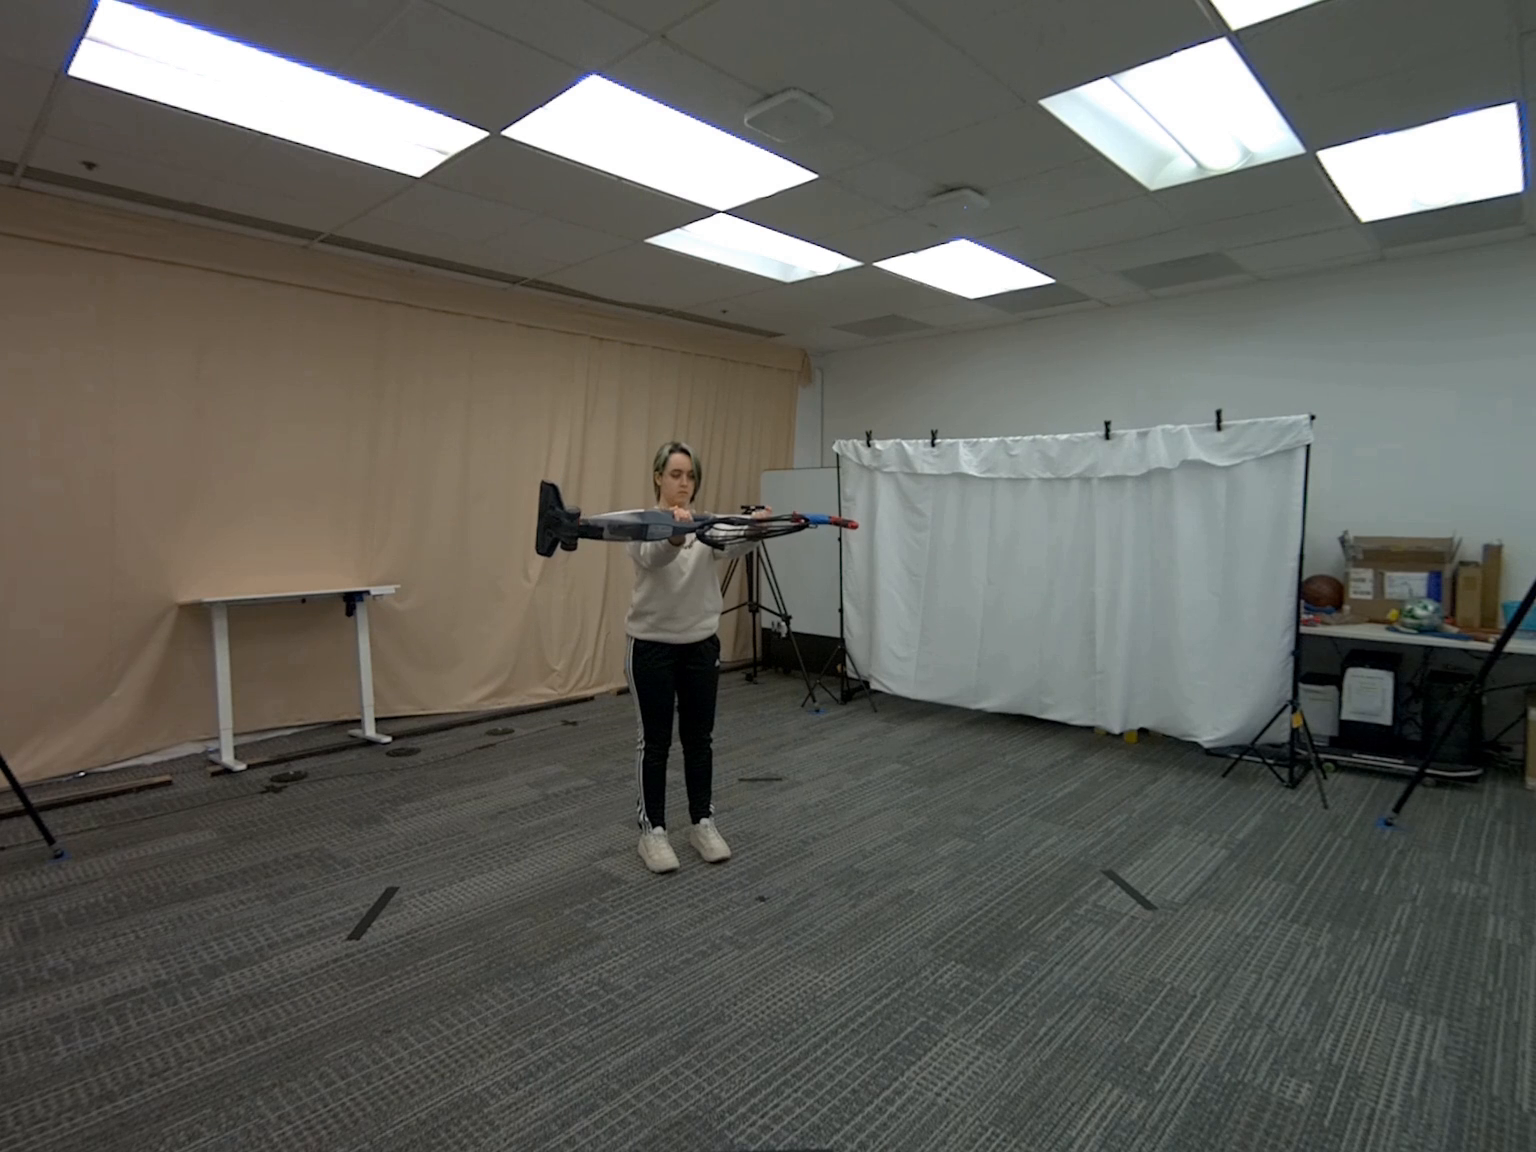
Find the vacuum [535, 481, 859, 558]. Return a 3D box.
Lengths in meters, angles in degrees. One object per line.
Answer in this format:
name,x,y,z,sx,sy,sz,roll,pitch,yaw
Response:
vacuum,-0.187,-0.176,2.764,1.028,0.250,0.148,-1,32,-20
